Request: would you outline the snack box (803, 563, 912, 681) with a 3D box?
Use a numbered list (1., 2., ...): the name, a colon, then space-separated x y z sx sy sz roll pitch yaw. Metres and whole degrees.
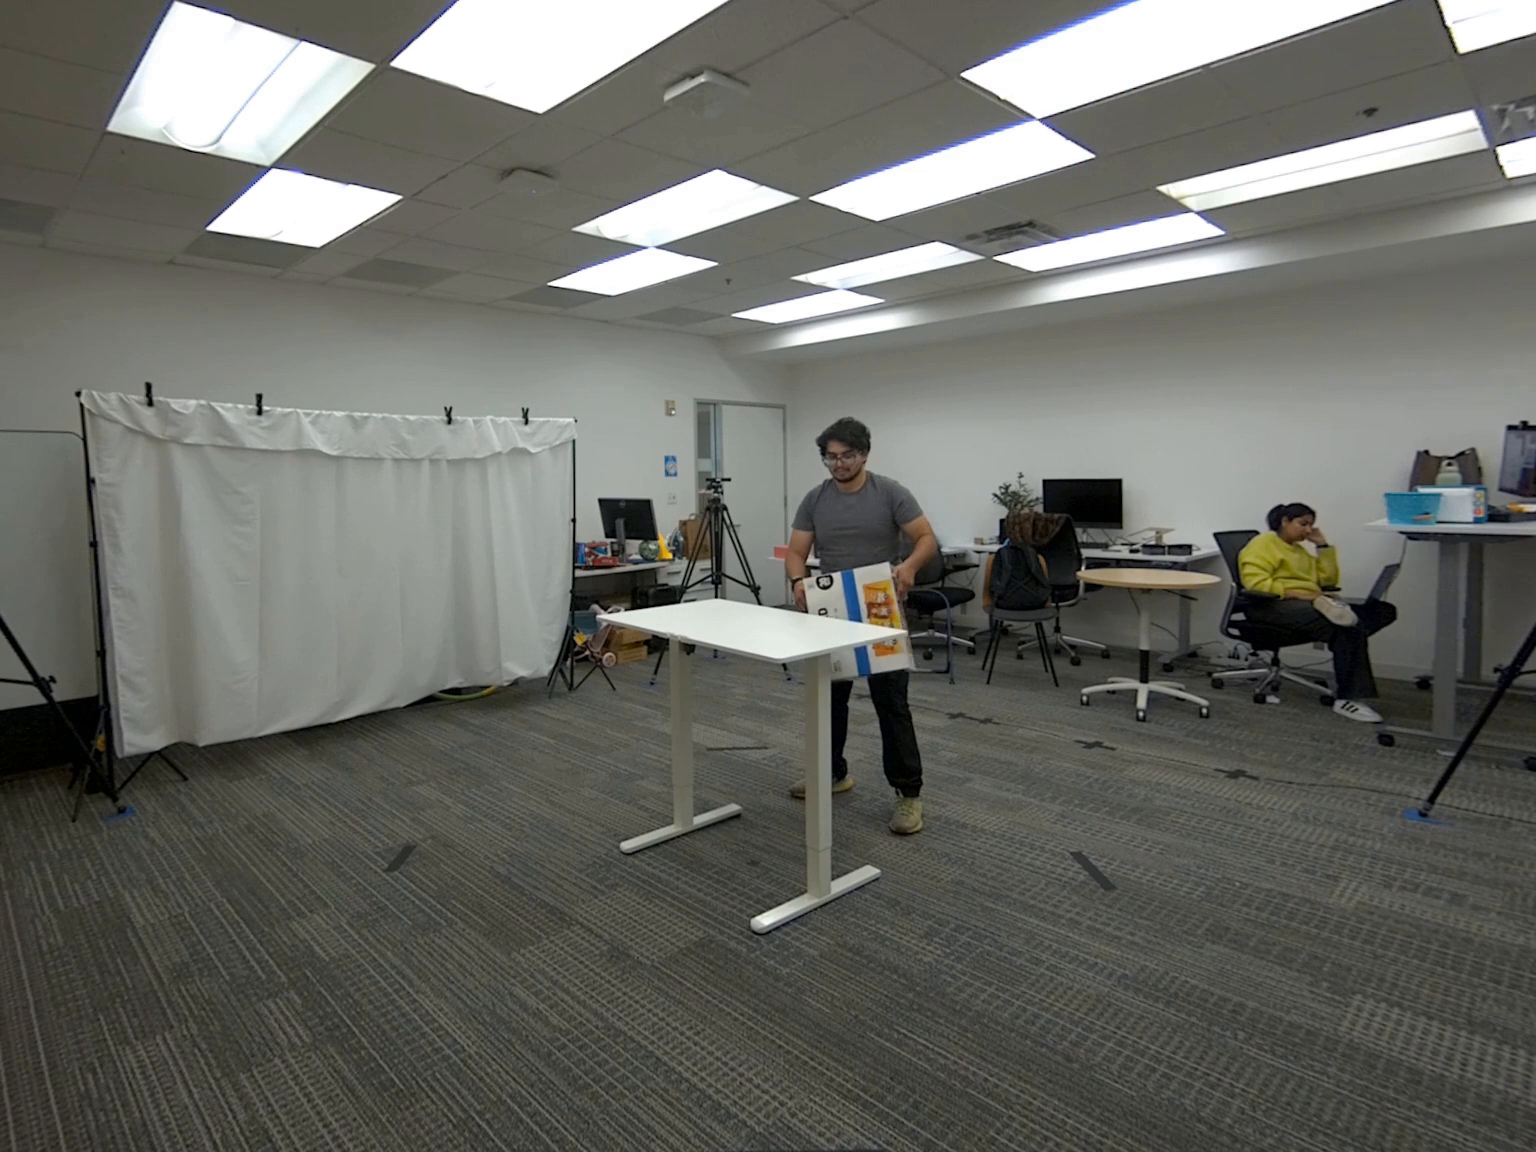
1. snack box: 0.353 0.186 3.319 0.345 0.410 0.200 -12 -12 17
